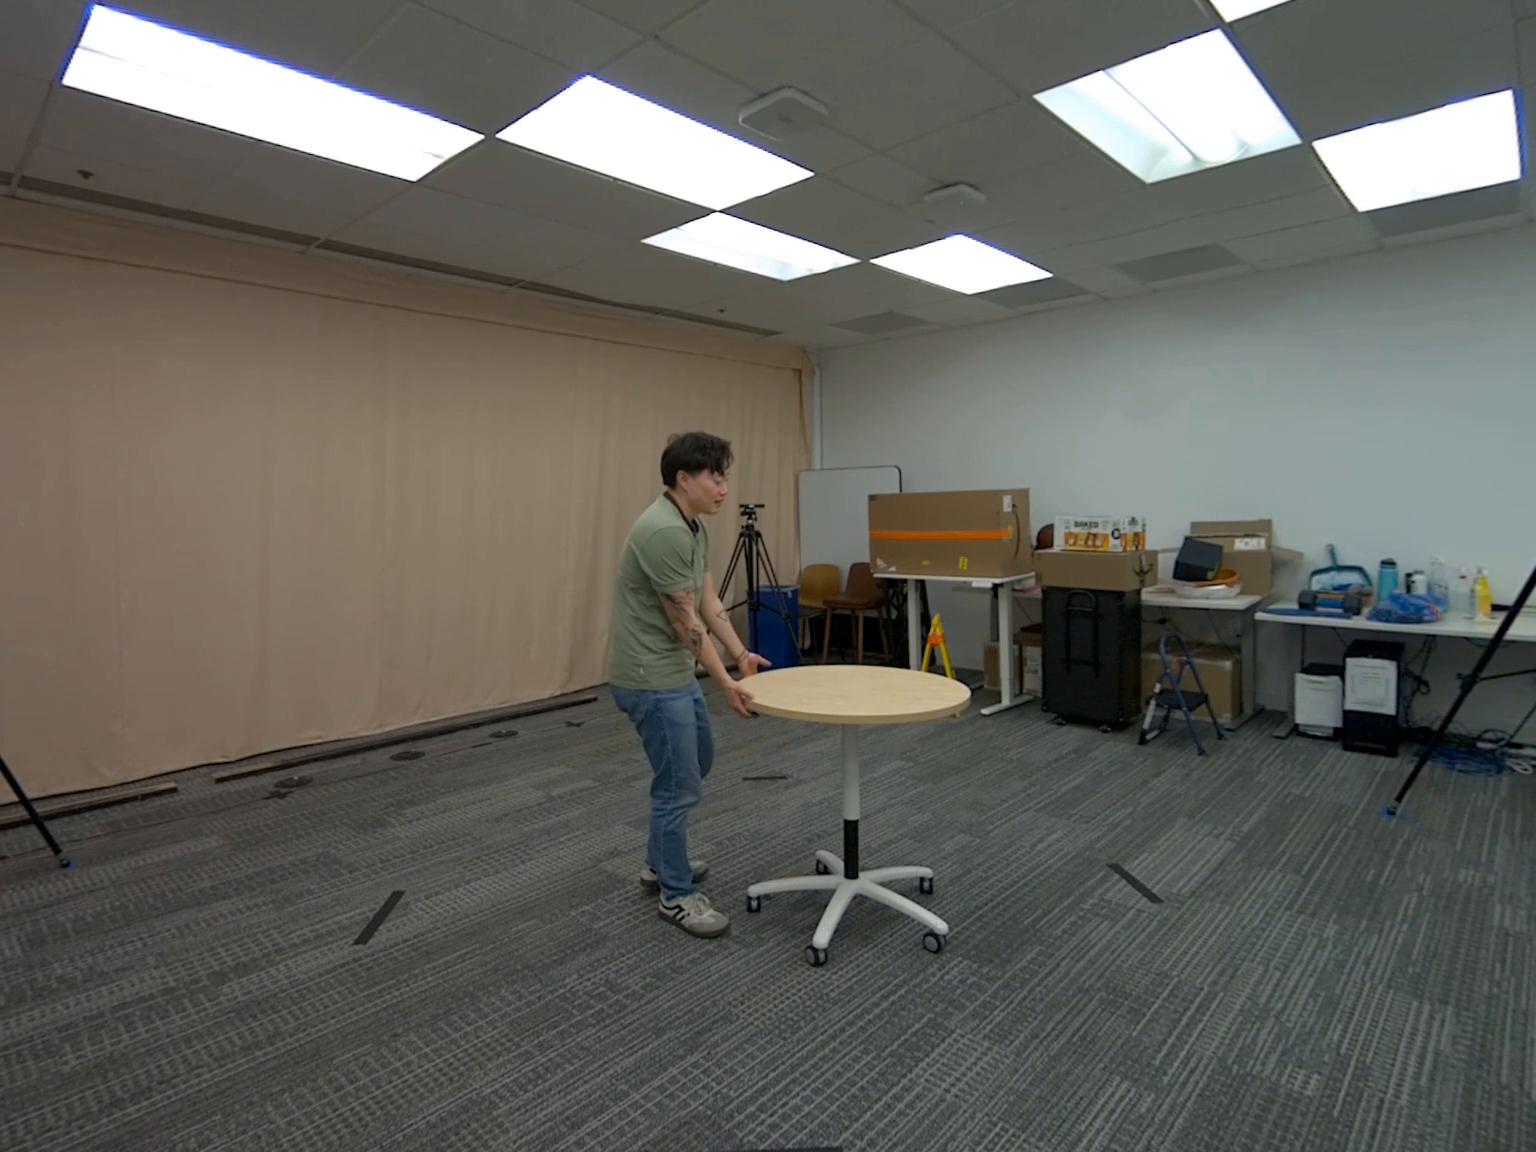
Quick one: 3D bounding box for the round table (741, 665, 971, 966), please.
[{"bbox_3d":[0.283,0.763,2.803,0.763,0.792,0.767,-1,4,-2],"label":"round table"}]
